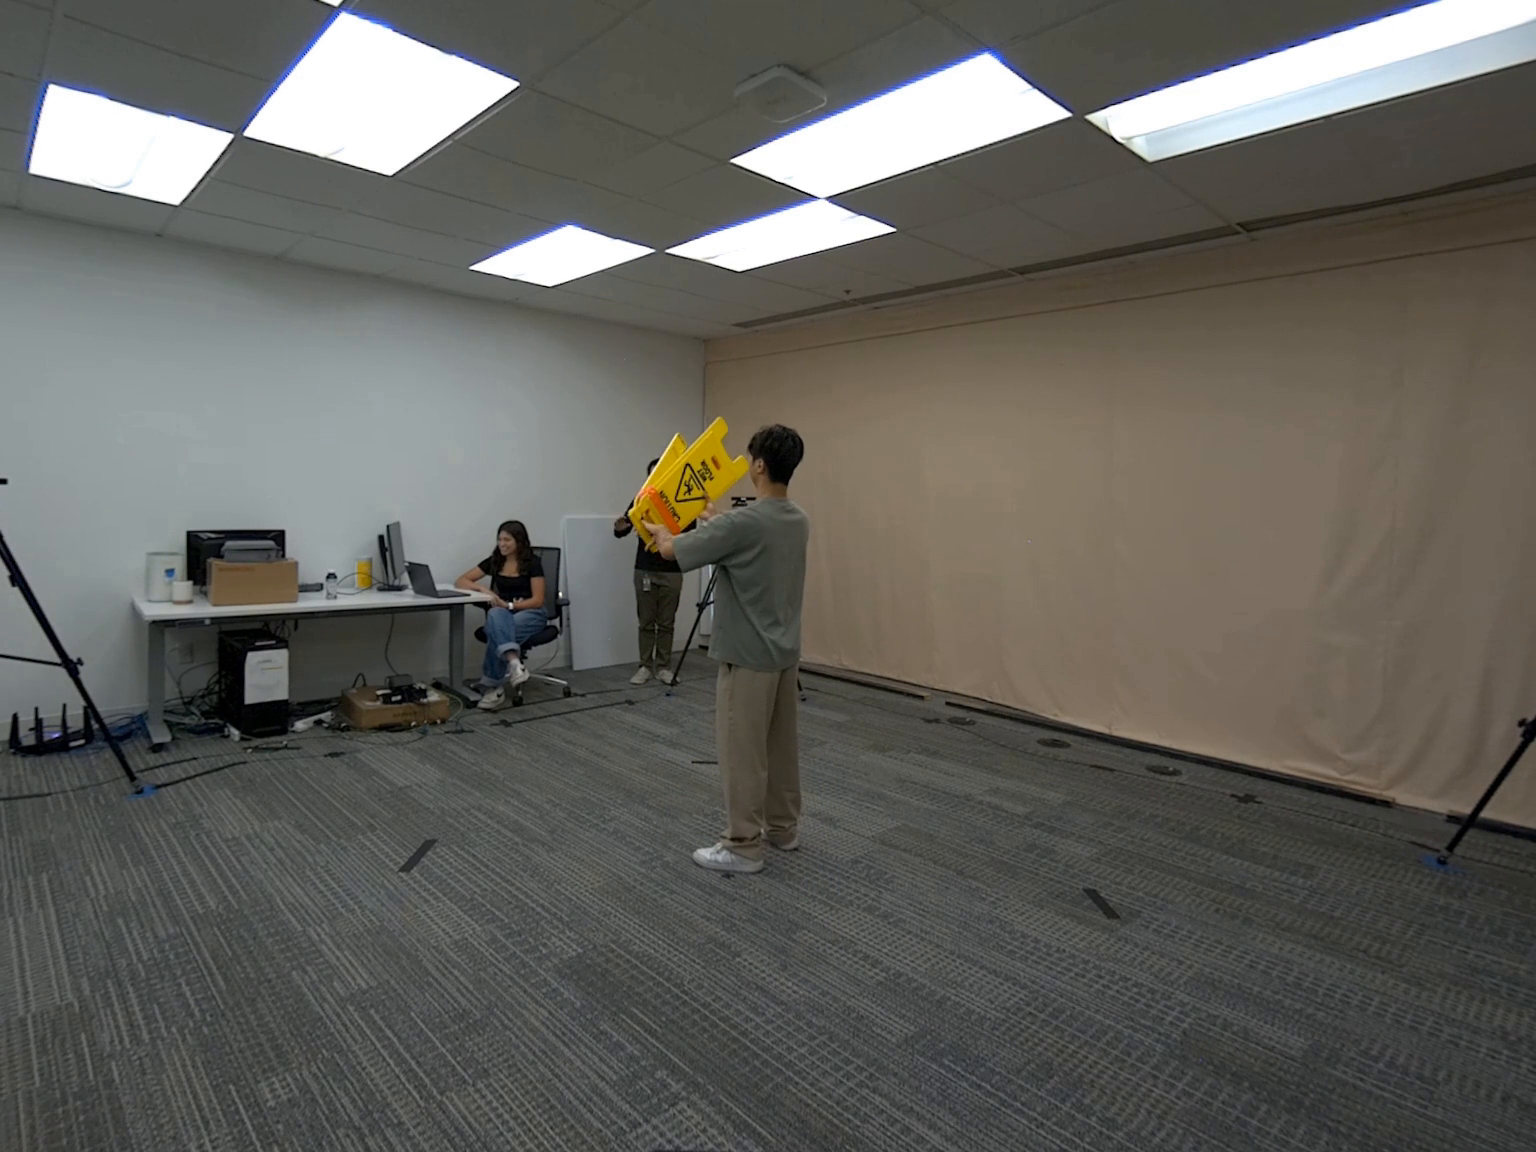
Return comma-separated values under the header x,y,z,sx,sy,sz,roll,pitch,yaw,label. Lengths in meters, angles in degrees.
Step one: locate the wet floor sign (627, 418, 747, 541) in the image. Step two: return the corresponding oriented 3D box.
x,y,z,sx,sy,sz,roll,pitch,yaw,label
-0.387,-0.368,3.589,0.295,0.276,0.649,-12,31,38,wet floor sign
